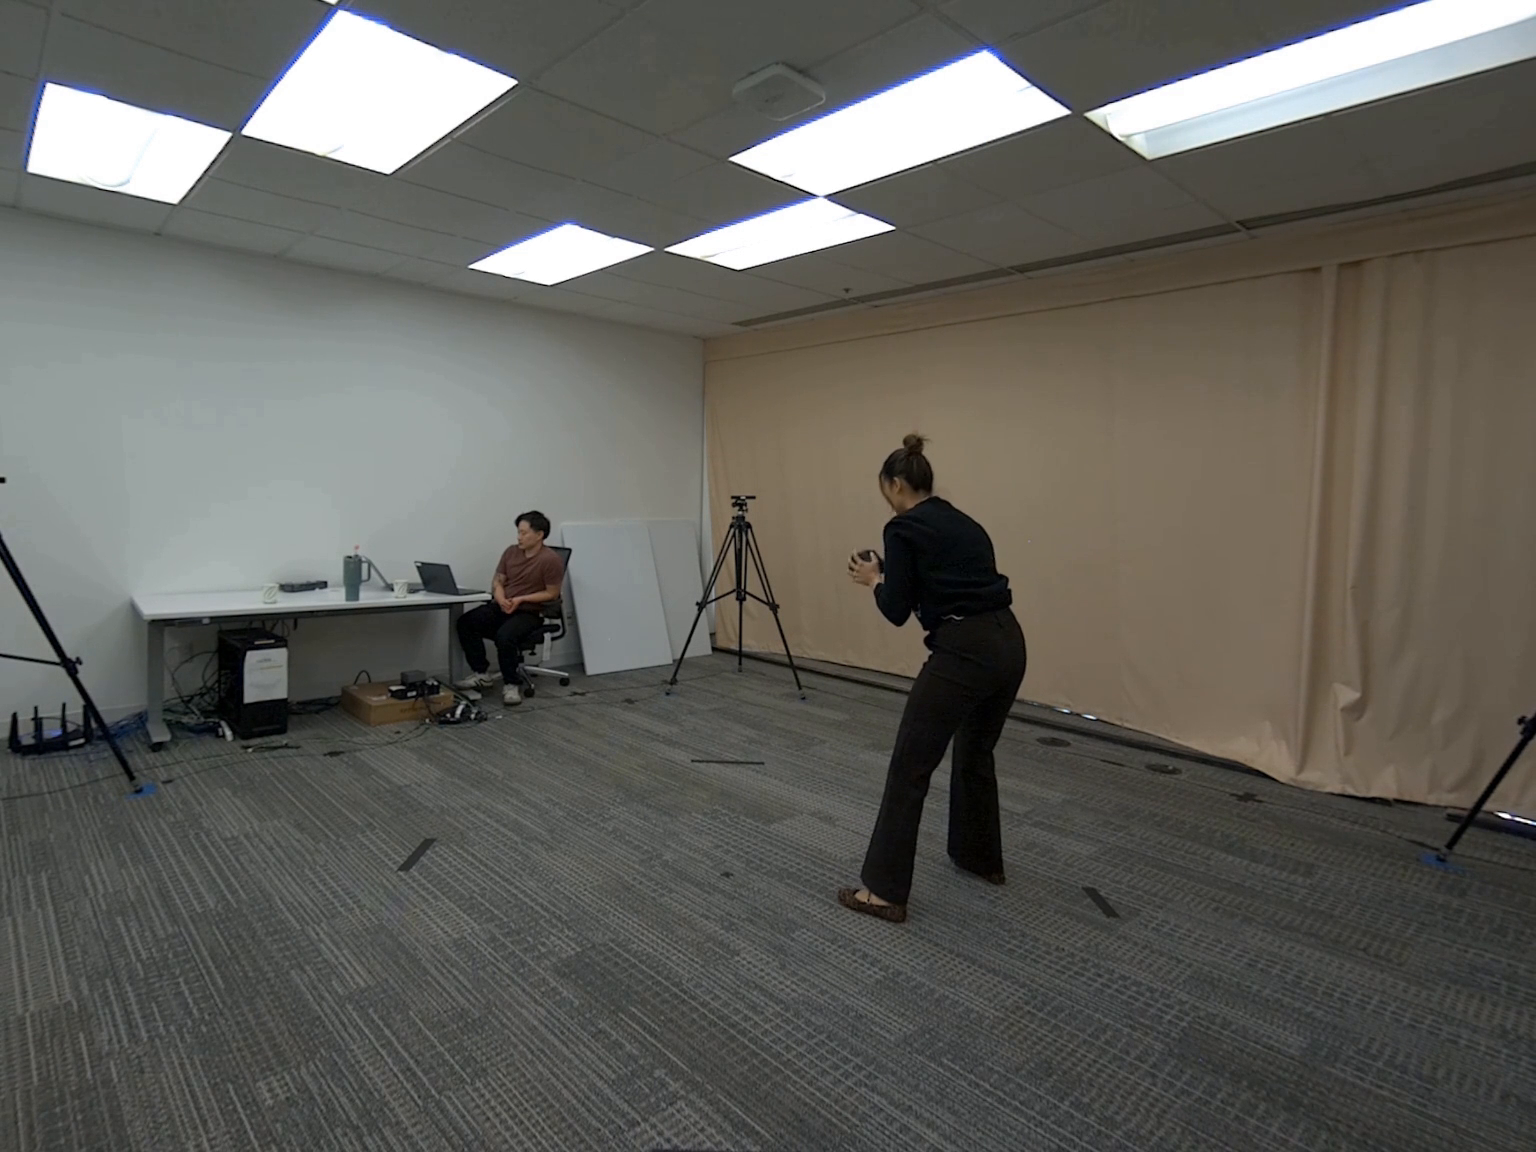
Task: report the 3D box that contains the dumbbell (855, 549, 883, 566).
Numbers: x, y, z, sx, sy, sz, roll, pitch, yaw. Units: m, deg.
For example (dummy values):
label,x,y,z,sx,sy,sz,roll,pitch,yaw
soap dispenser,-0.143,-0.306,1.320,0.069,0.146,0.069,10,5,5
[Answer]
label,x,y,z,sx,sy,sz,roll,pitch,yaw
dumbbell,0.451,-0.017,3.184,0.287,0.126,0.108,-3,-40,-47
